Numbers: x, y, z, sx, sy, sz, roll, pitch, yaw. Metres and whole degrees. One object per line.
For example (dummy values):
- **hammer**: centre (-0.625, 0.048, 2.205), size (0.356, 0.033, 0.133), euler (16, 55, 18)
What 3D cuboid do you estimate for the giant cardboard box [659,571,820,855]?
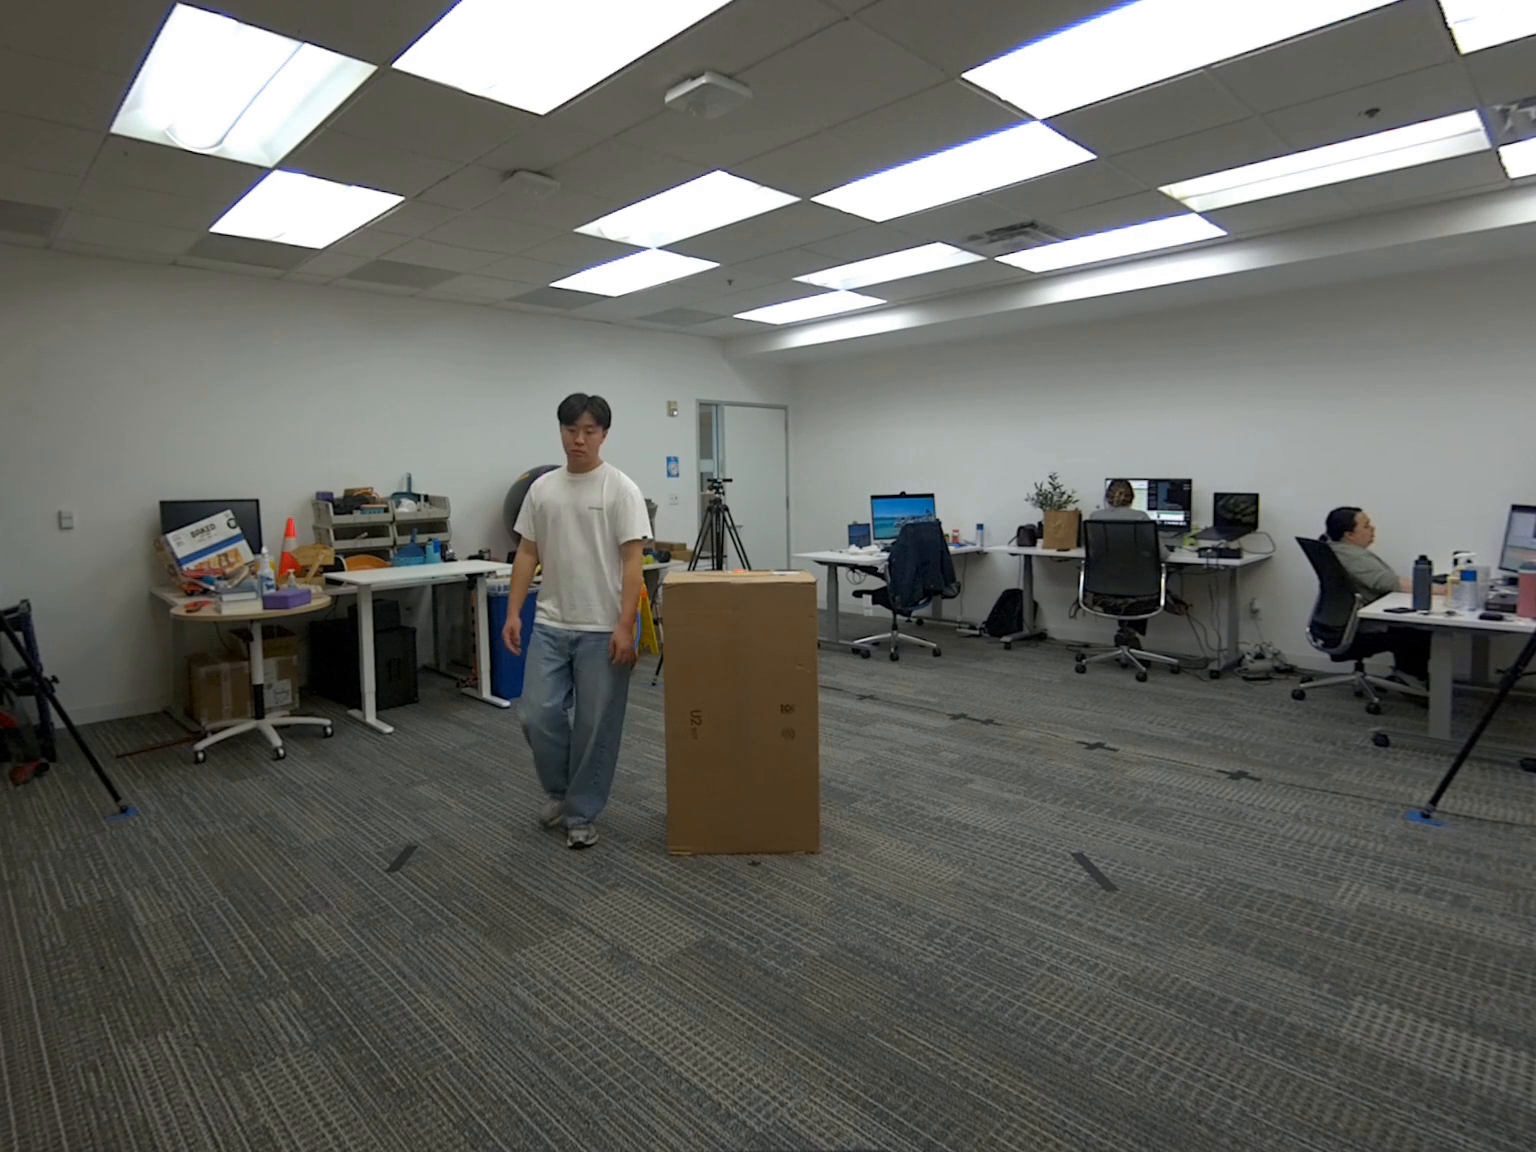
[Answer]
- **giant cardboard box**: centre (-0.103, 0.507, 3.362), size (0.577, 1.023, 0.428), euler (-1, 3, -1)
